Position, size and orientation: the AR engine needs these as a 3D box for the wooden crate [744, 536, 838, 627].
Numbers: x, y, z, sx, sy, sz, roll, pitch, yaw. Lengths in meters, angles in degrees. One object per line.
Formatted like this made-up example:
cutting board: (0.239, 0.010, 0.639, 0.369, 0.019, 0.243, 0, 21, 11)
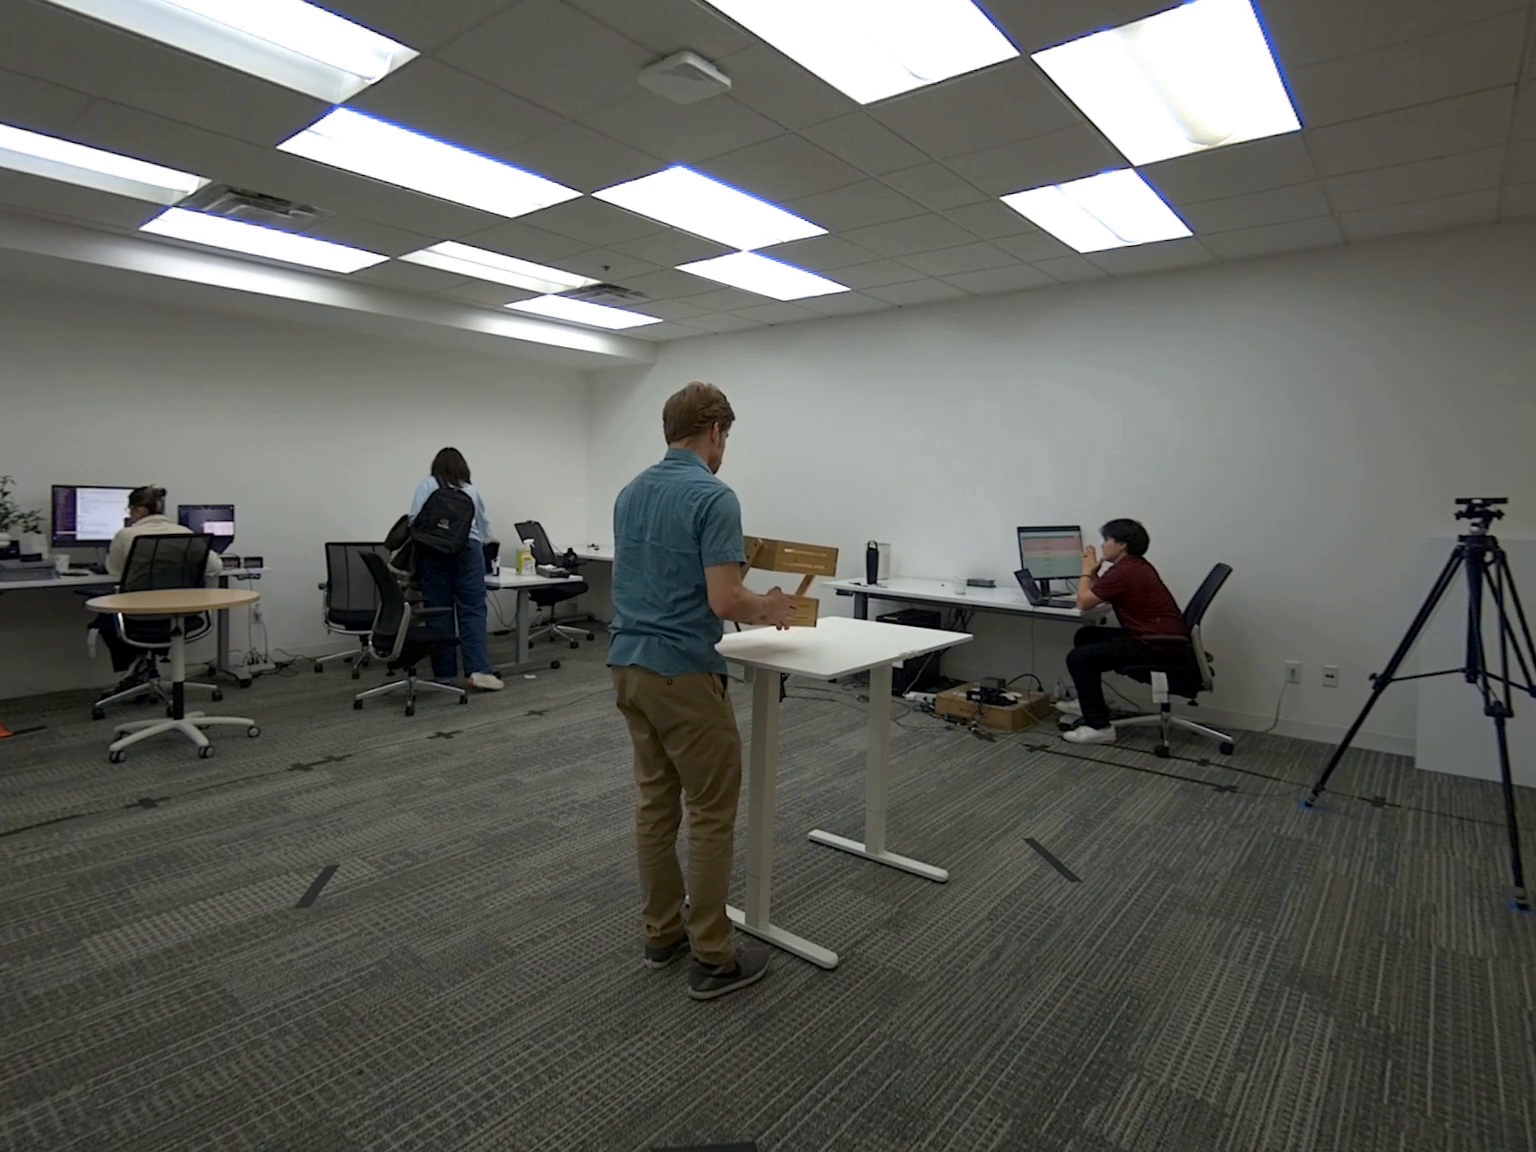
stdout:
wooden crate: (-0.005, 0.010, 2.669, 0.313, 0.273, 0.313, 7, 1, 44)
